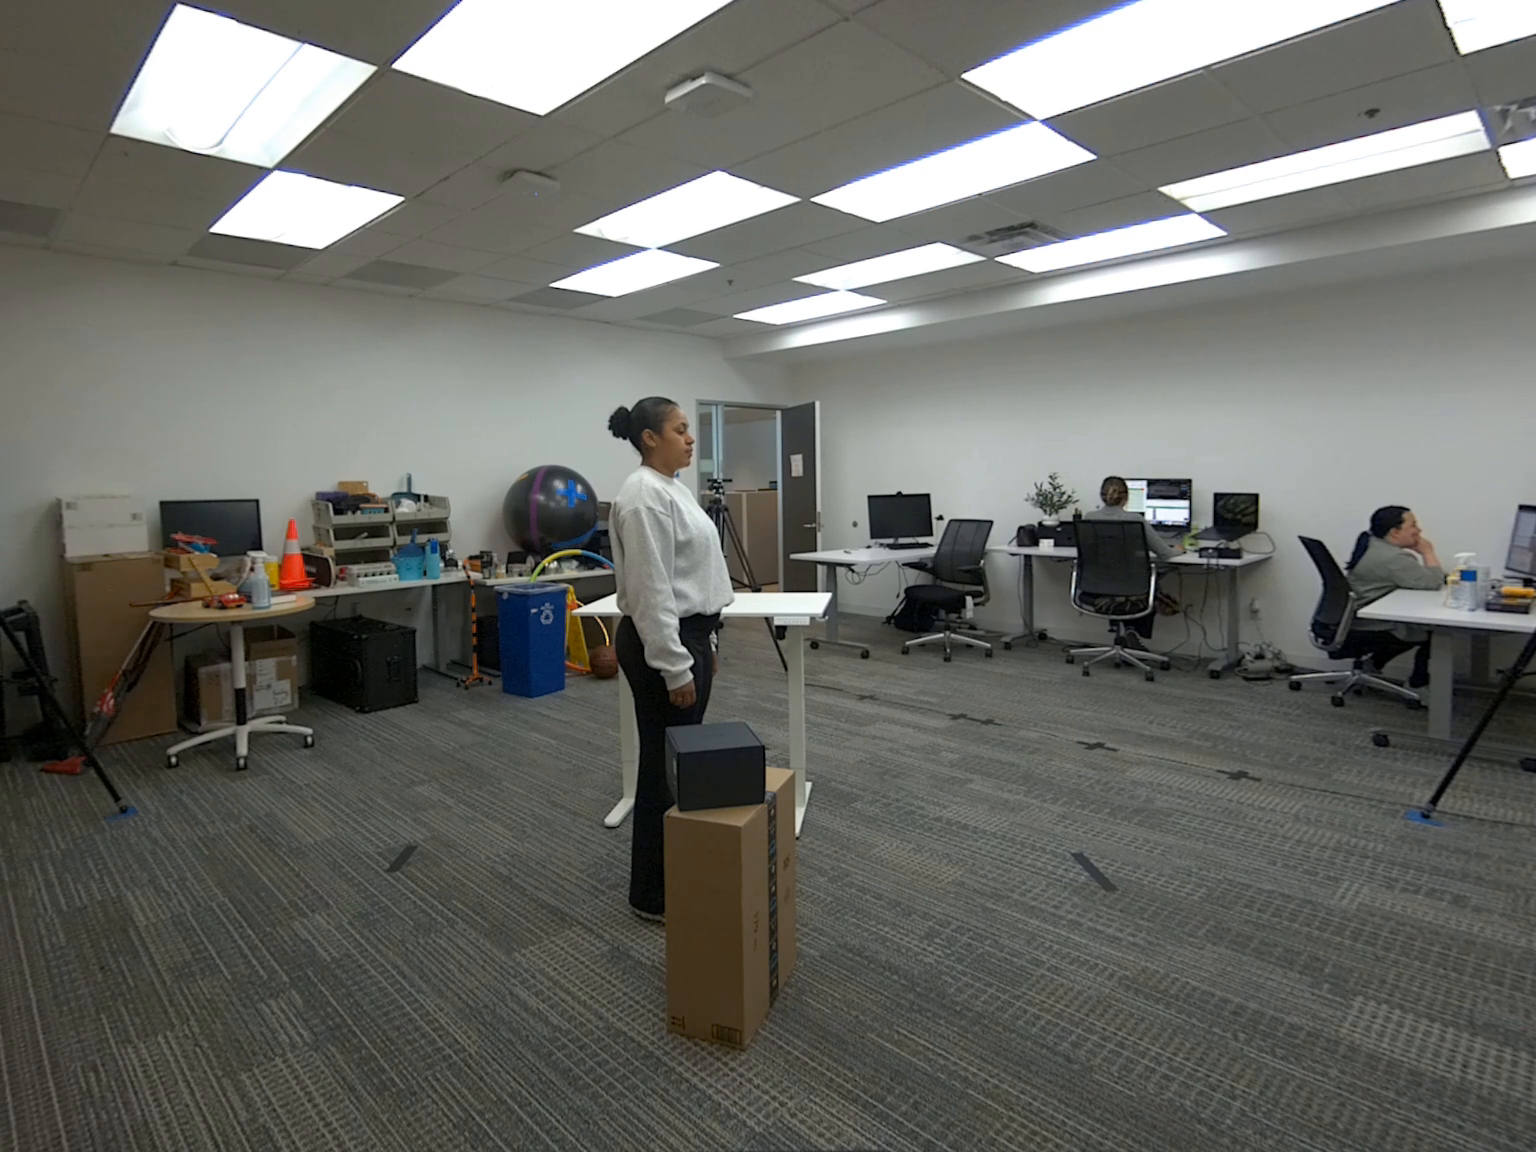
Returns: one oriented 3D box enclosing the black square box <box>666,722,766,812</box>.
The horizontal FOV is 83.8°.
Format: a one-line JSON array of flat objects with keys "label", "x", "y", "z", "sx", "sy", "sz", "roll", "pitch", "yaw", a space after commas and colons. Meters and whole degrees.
[{"label": "black square box", "x": -0.144, "y": 0.503, "z": 2.273, "sx": 0.225, "sy": 0.155, "sz": 0.221, "roll": -3, "pitch": 6, "yaw": -14}]
